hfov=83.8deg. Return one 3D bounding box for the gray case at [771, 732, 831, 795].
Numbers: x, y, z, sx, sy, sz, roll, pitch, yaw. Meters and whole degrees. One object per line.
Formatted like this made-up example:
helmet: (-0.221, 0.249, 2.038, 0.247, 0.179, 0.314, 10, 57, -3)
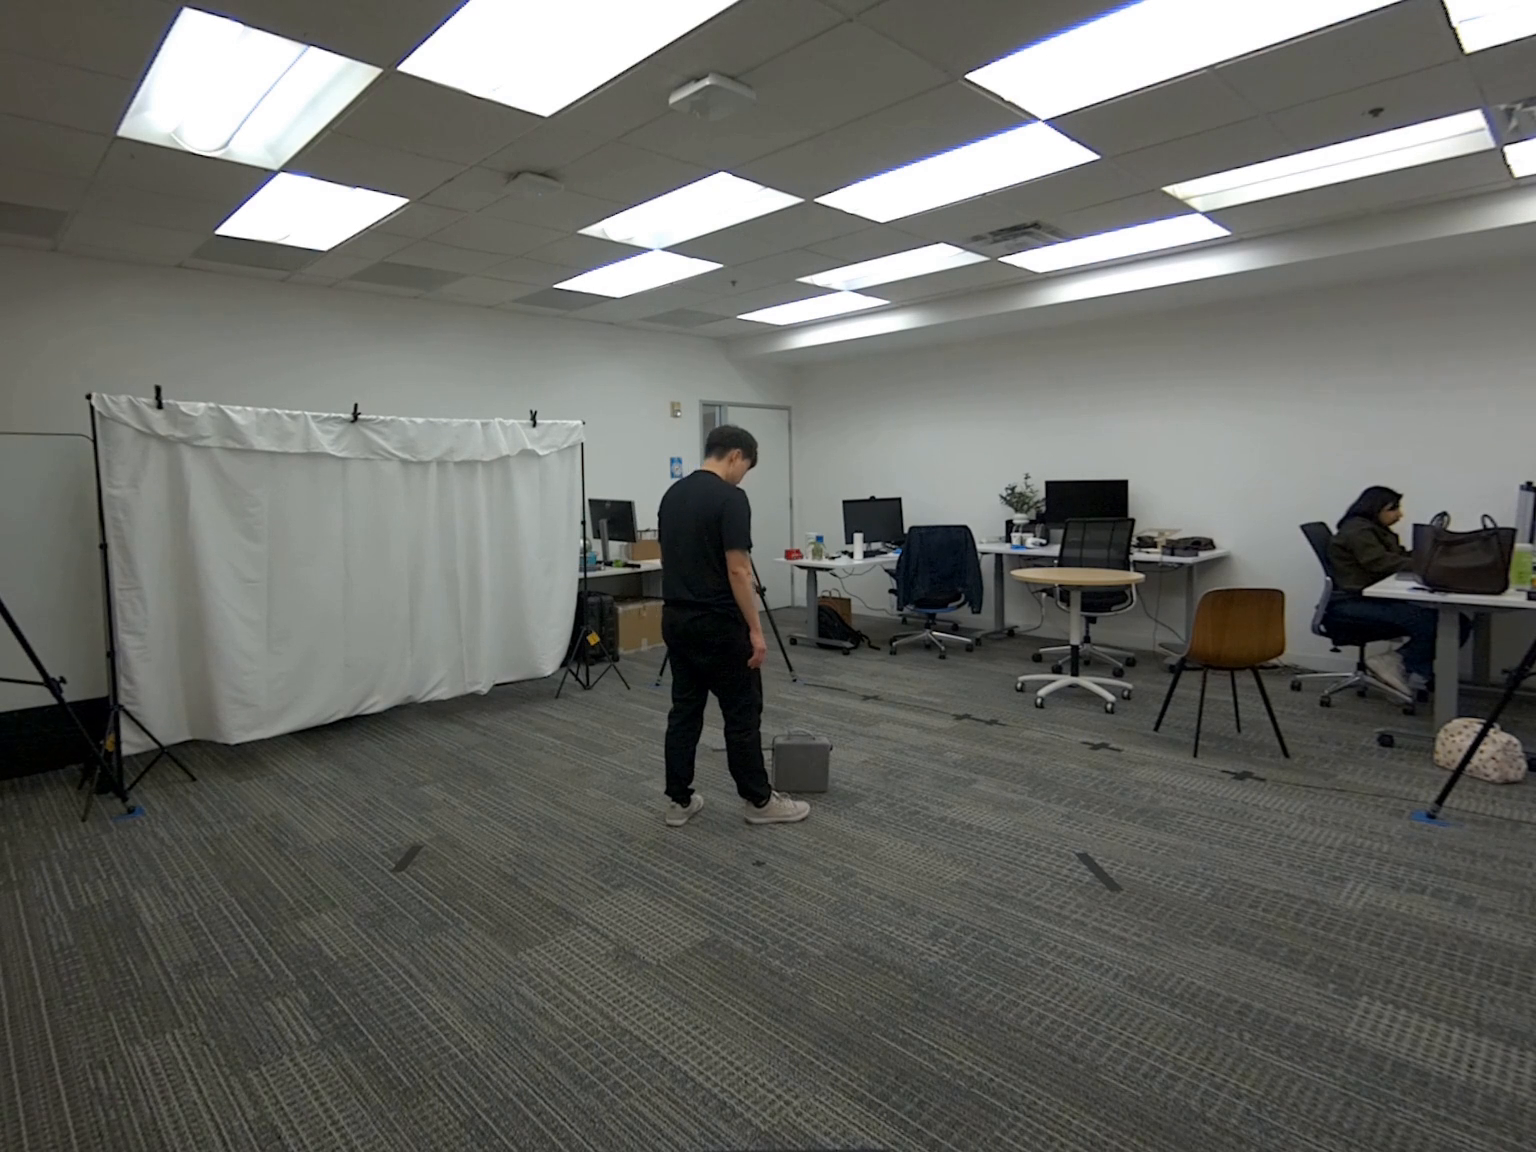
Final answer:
gray case: (0.155, 0.830, 3.822, 0.257, 0.258, 0.105, -1, 12, -1)
